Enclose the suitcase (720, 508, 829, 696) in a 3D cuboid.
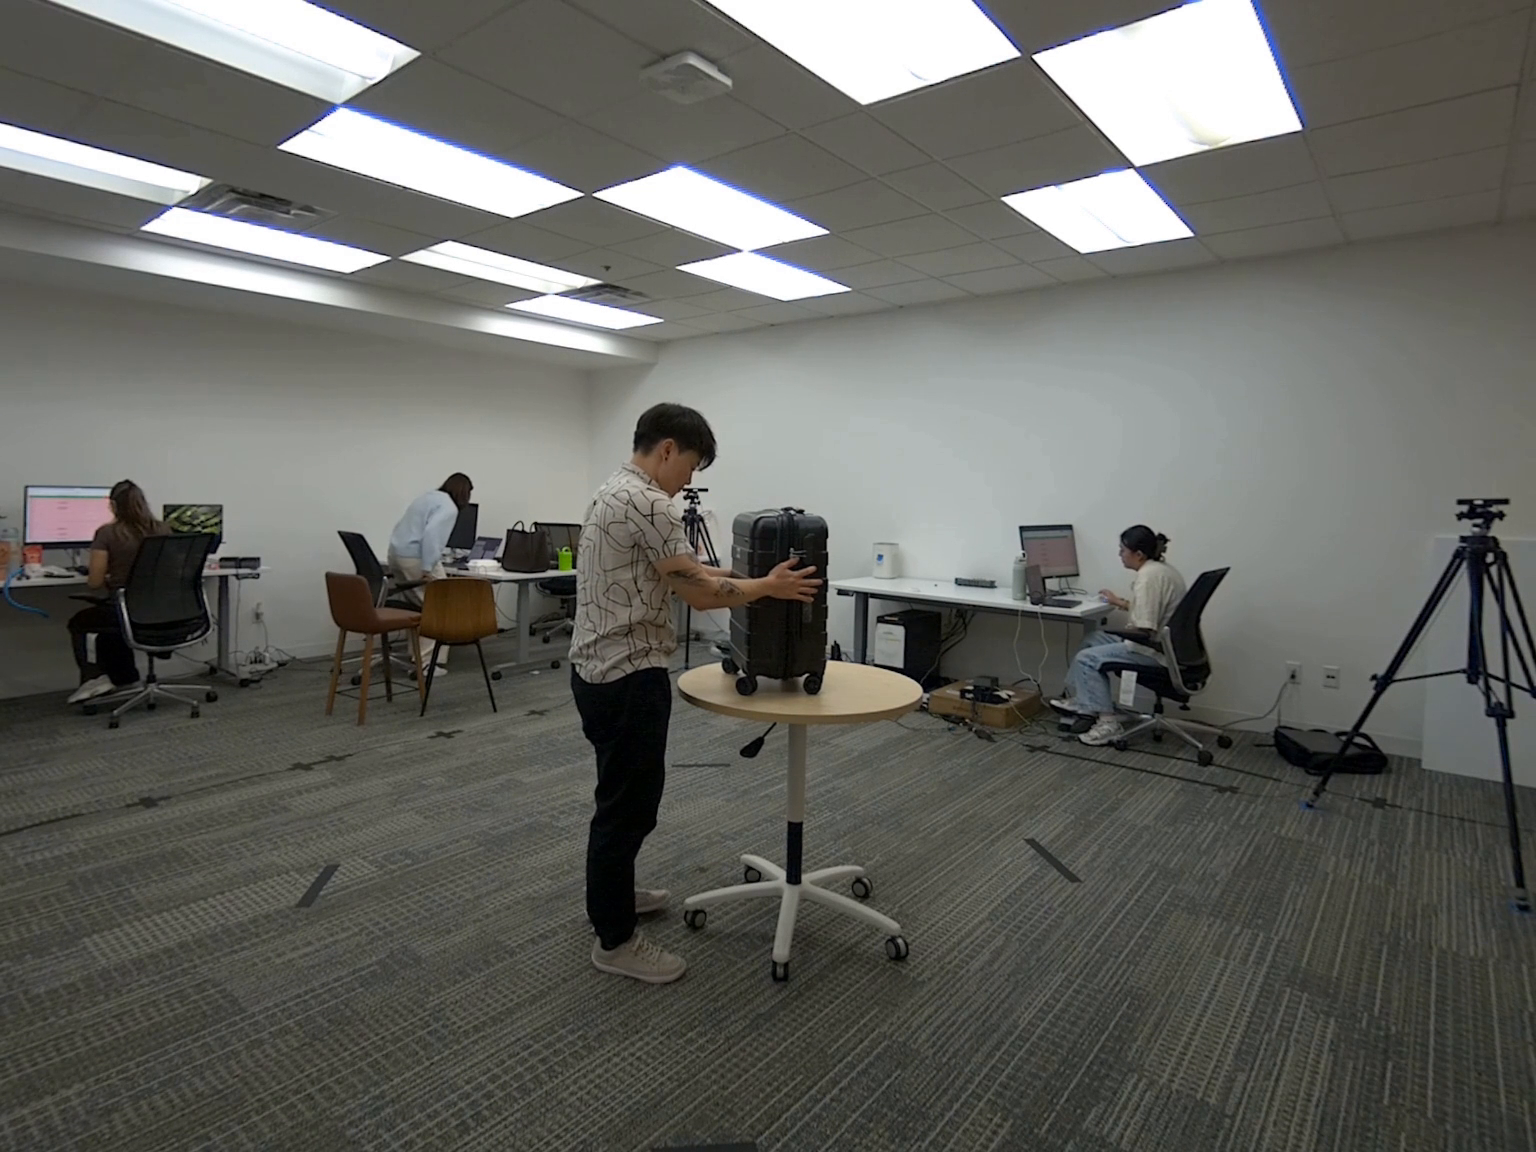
[{"bbox_3d":[0.017,0.060,2.653,0.246,0.547,0.381,0,5,-11],"label":"suitcase"}]
